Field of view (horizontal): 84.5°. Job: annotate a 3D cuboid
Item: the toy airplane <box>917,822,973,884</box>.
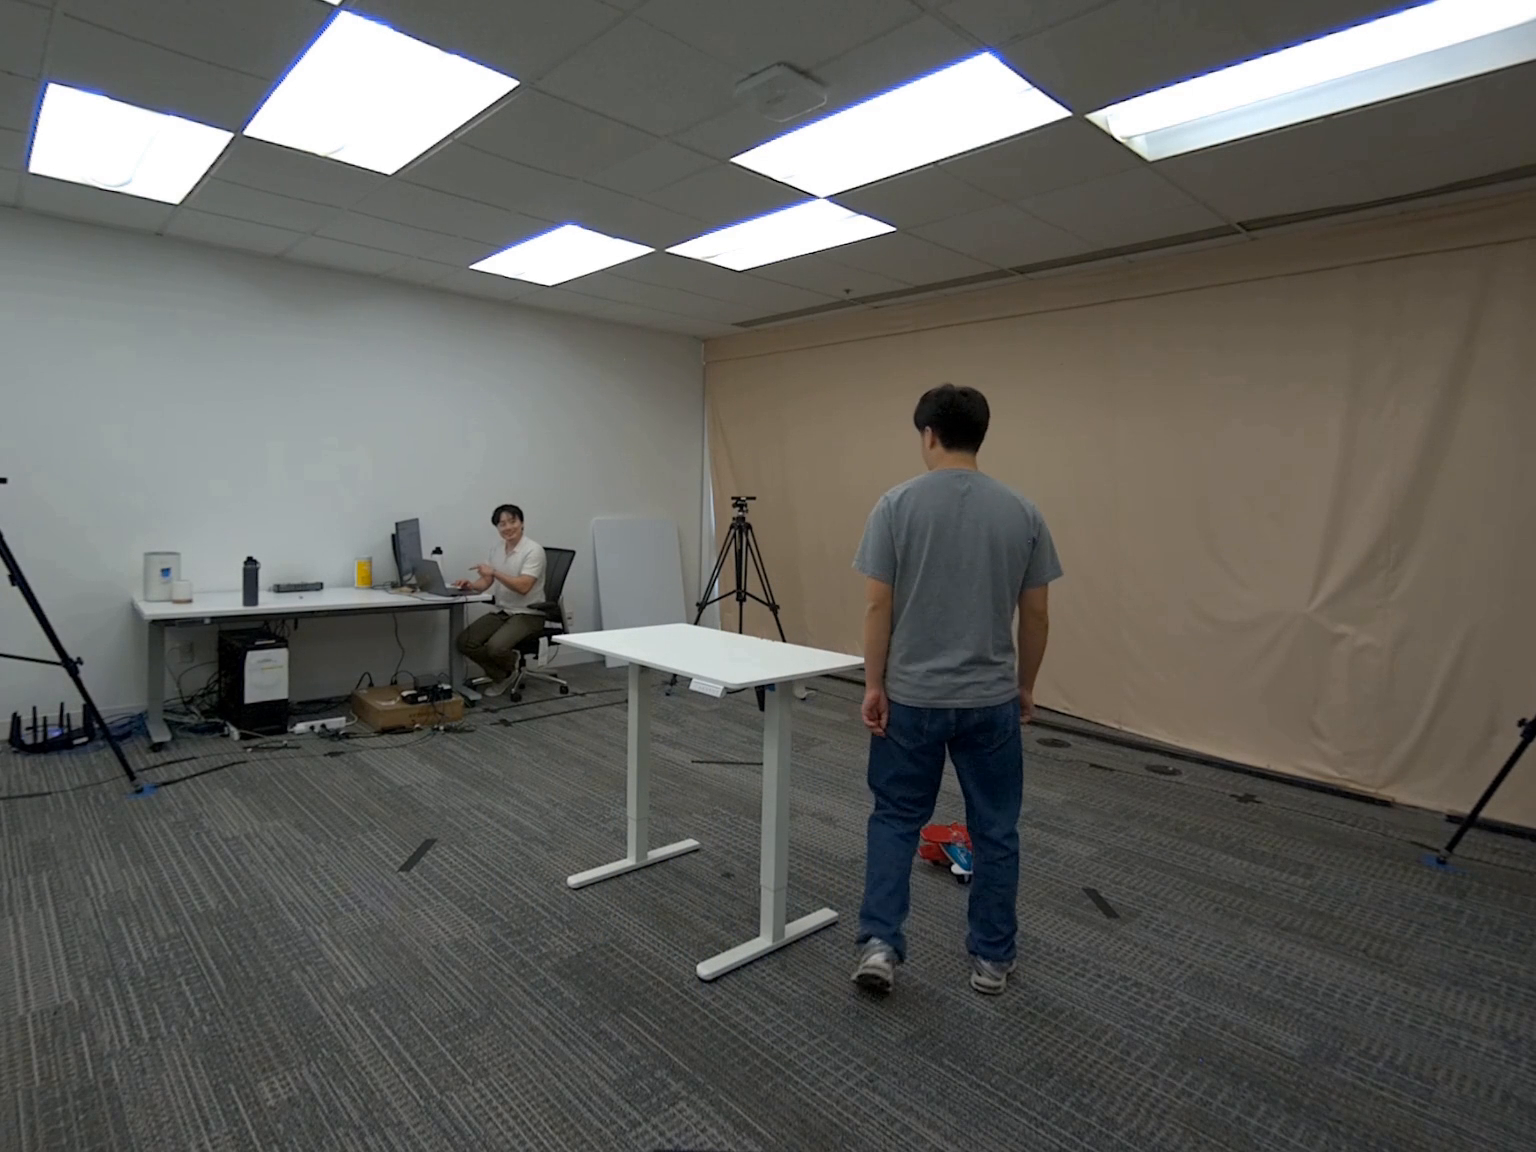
[{"bbox_3d":[0.724,1.048,3.185,0.245,0.156,0.266,-2,5,-39],"label":"toy airplane"}]
